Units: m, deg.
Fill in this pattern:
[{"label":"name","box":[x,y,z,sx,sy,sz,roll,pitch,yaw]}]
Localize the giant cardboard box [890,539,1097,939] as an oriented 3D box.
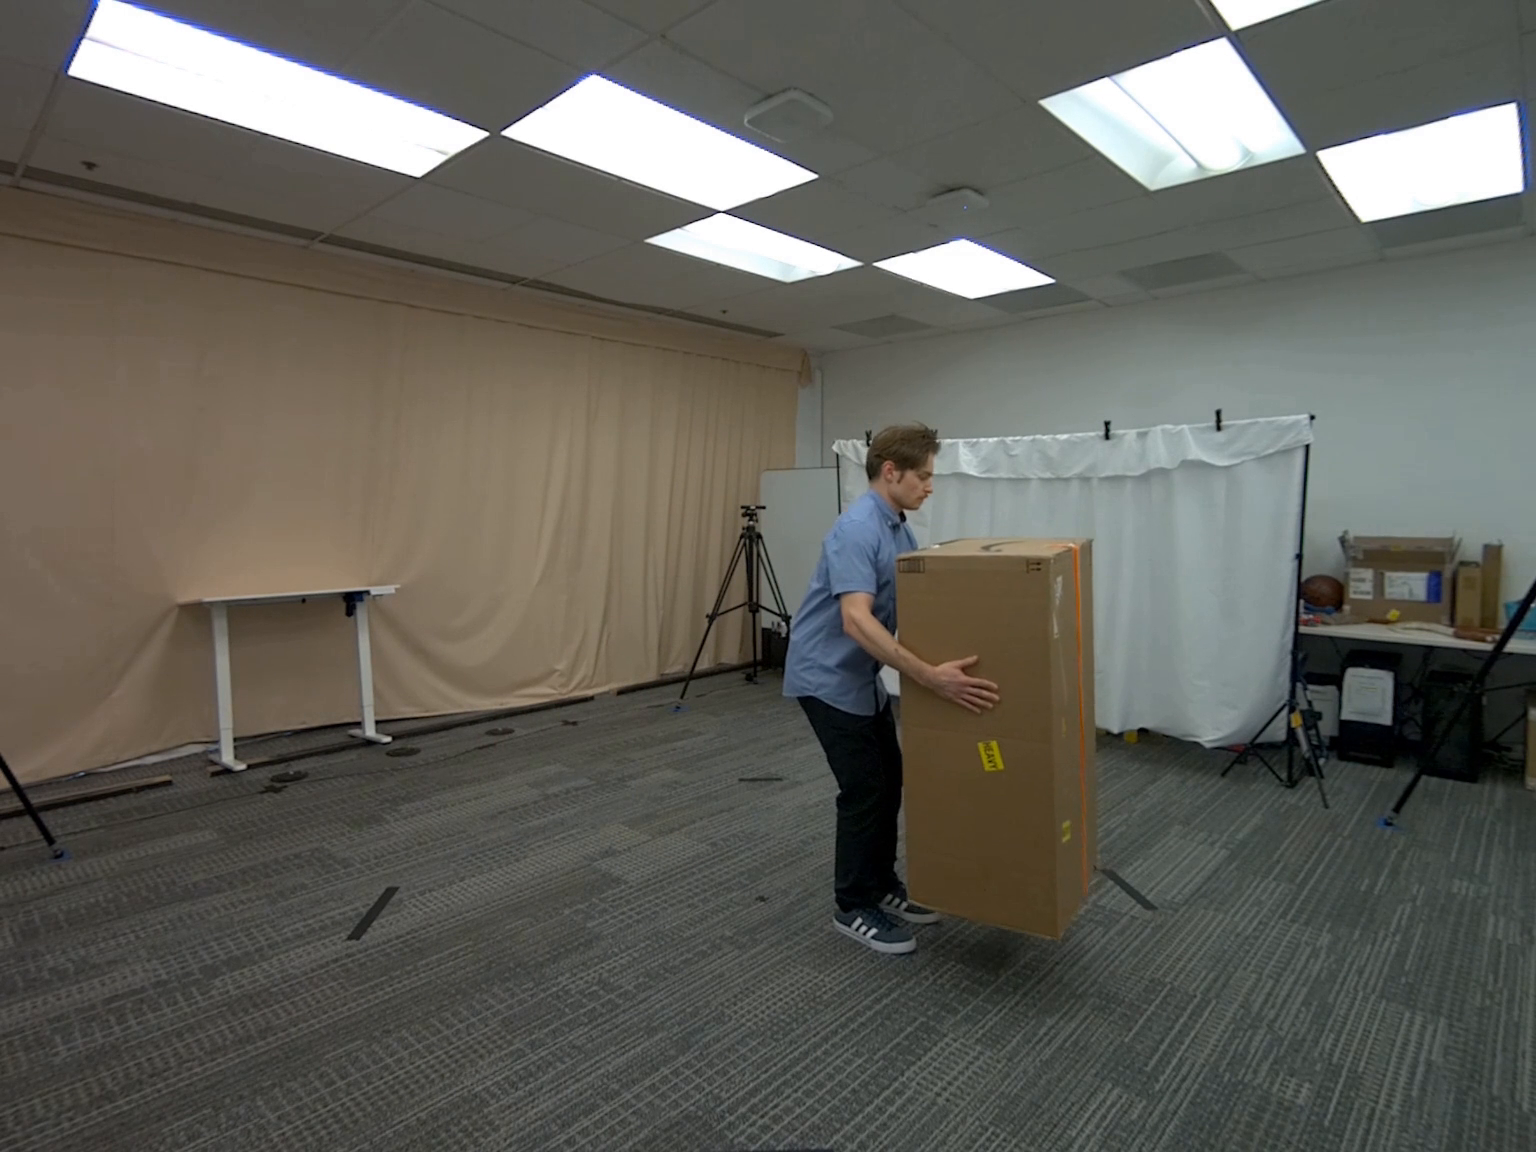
[{"label":"giant cardboard box","box":[0.718,0.428,2.521,0.439,1.023,0.562,0,5,33]}]
